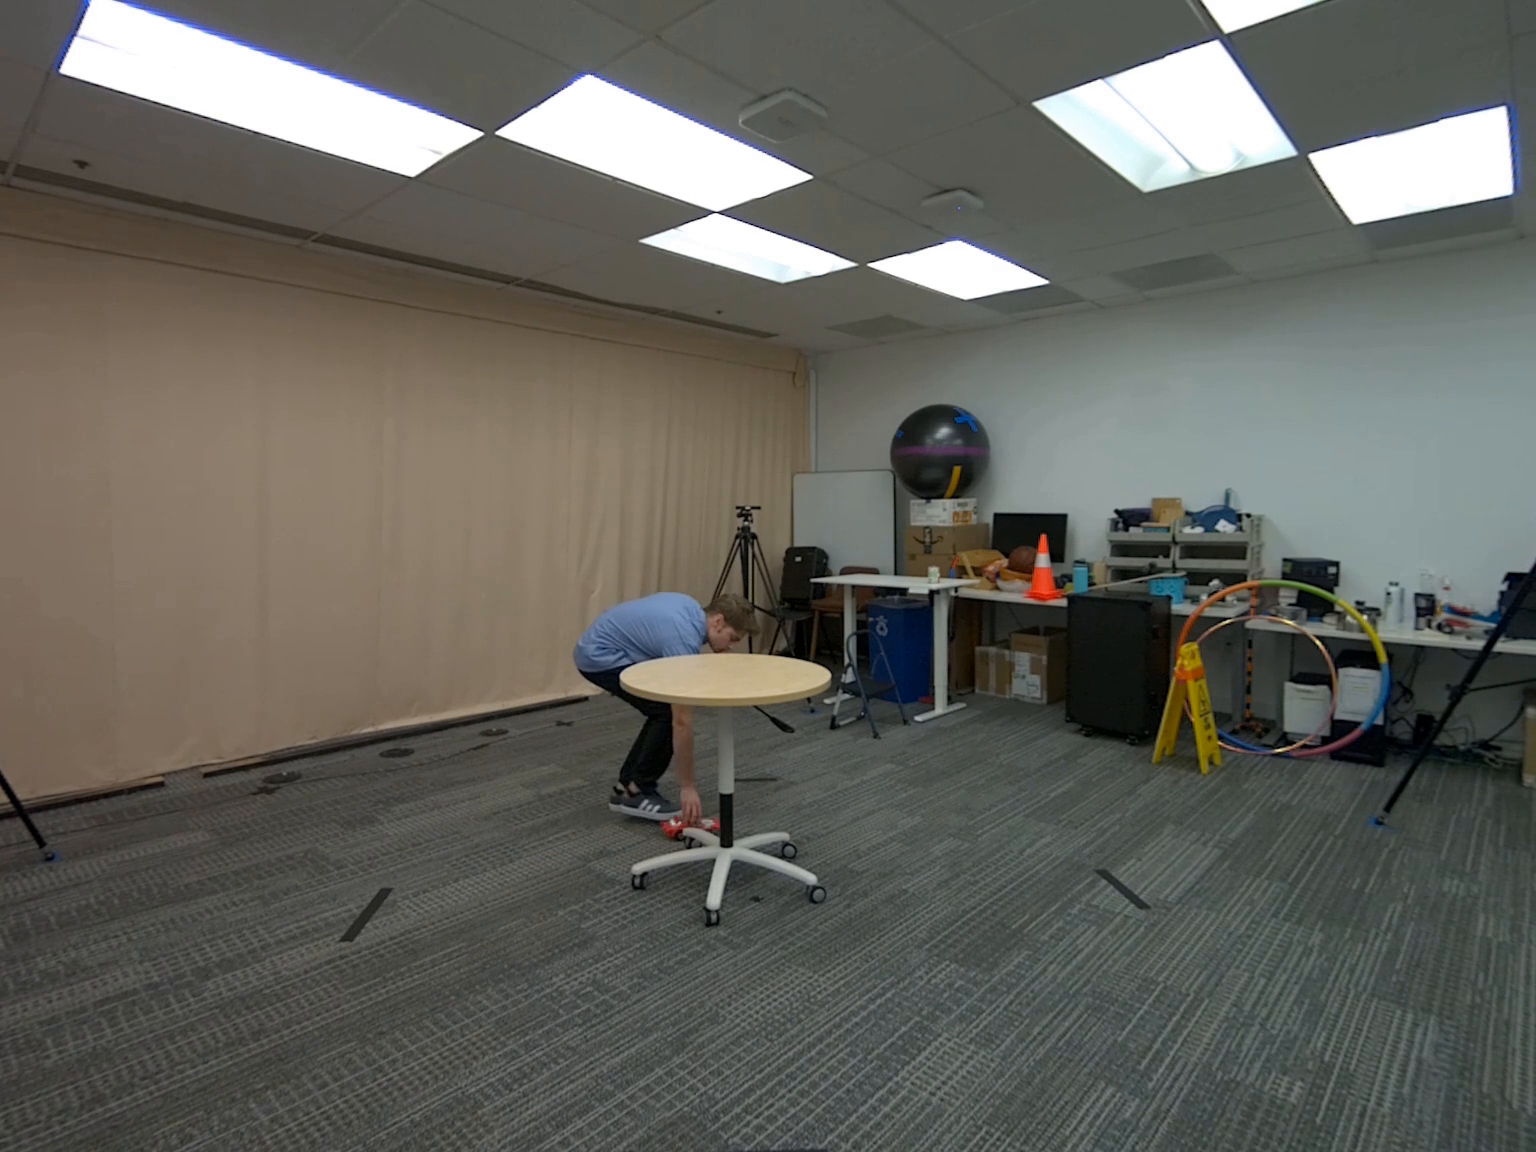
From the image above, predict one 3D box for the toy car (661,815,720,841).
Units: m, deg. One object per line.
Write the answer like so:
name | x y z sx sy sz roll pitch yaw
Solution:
toy car | -0.332 1.073 3.563 0.251 0.083 0.132 11 0 -13
